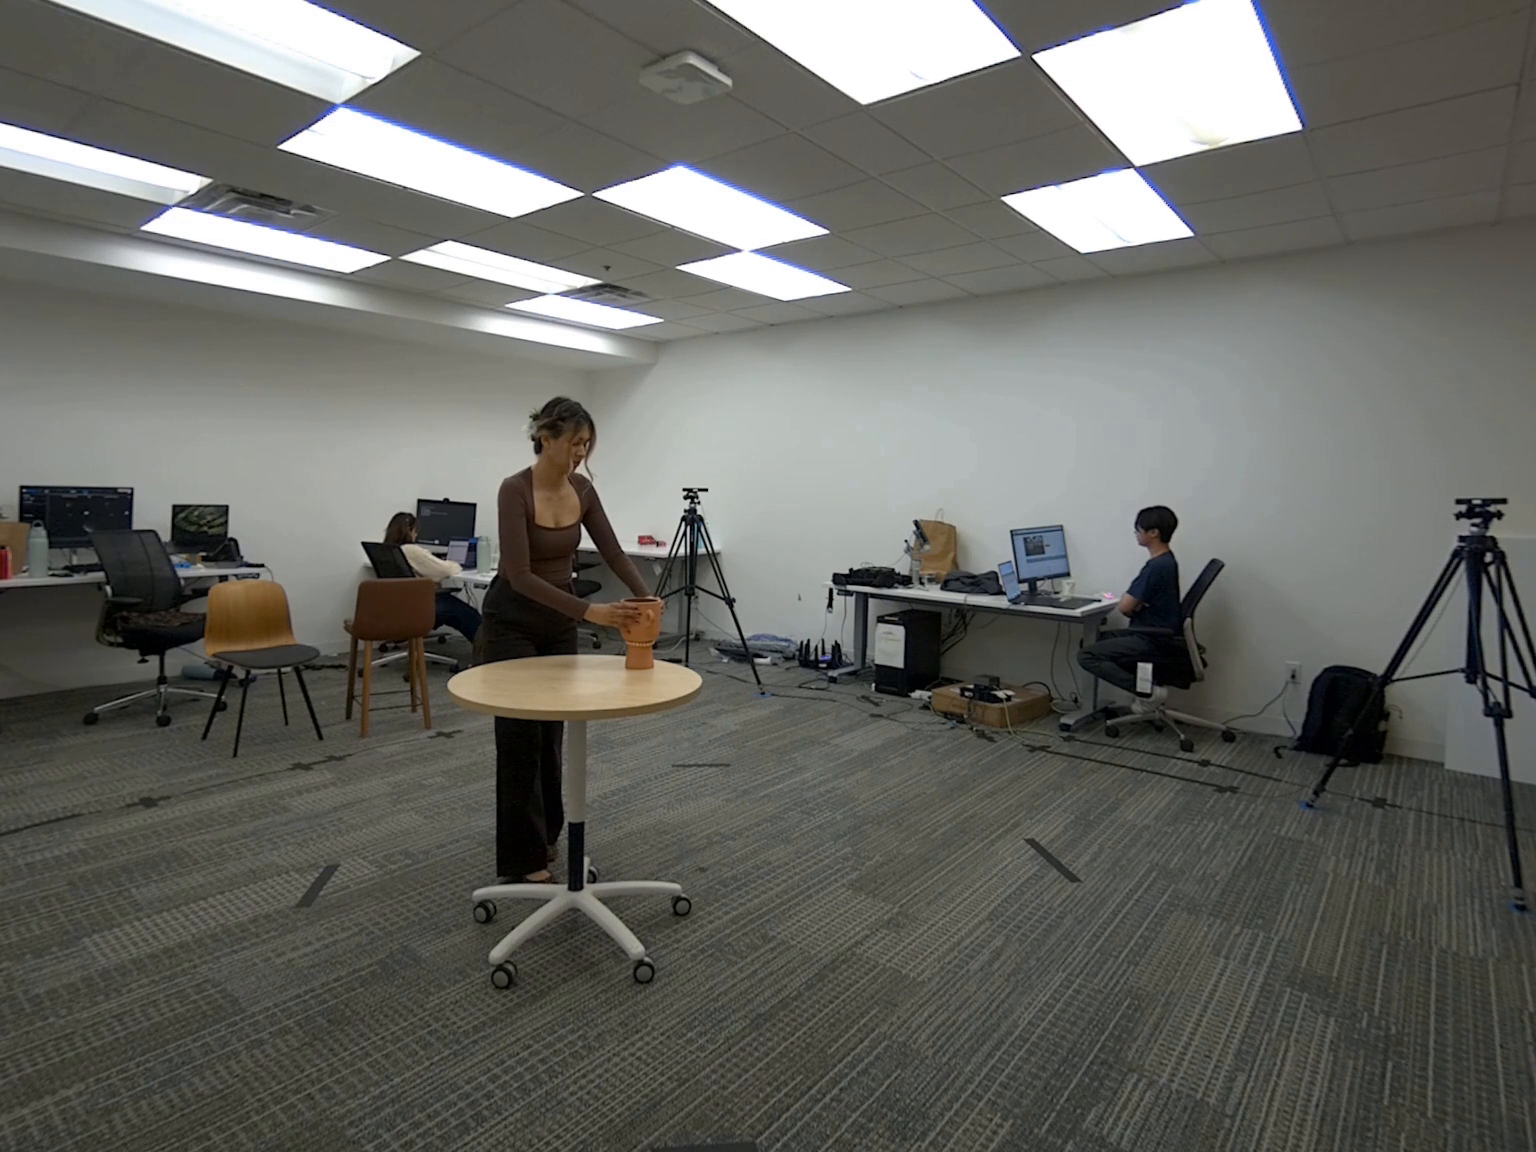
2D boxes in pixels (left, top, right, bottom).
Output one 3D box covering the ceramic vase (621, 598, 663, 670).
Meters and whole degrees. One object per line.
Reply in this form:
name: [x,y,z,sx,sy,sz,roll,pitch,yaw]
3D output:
ceramic vase: [-0.436,0.190,2.804,0.136,0.219,0.157,2,2,9]
